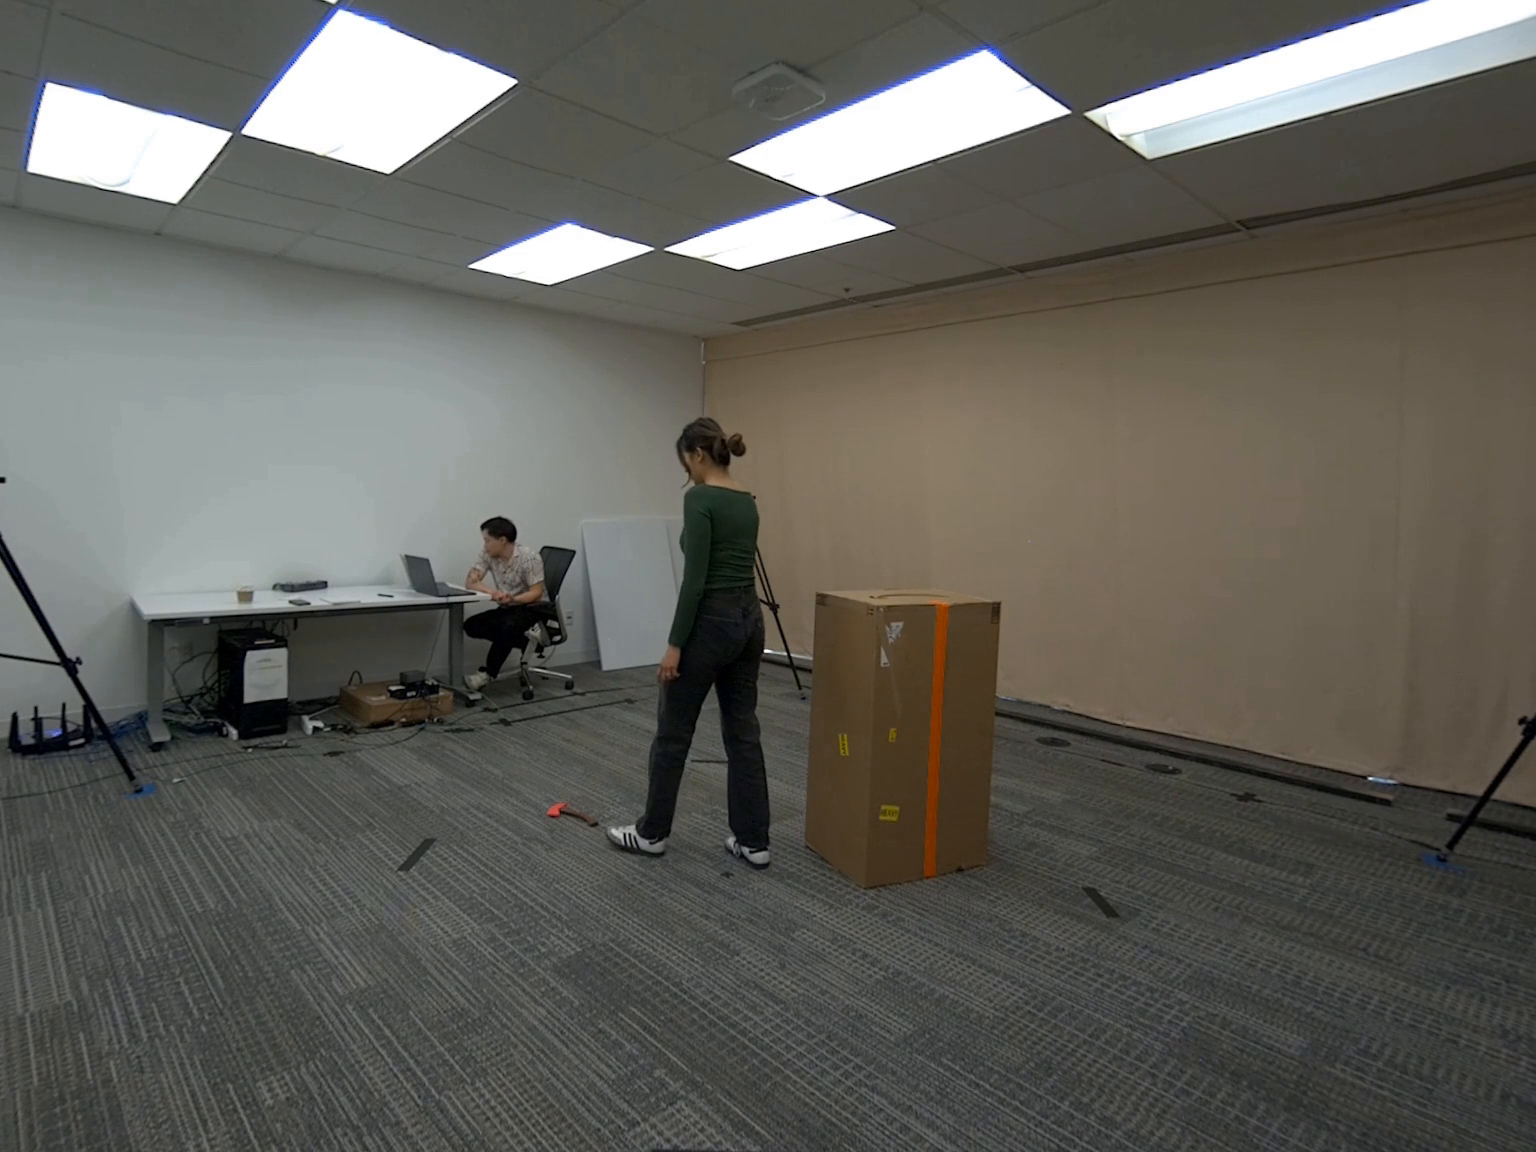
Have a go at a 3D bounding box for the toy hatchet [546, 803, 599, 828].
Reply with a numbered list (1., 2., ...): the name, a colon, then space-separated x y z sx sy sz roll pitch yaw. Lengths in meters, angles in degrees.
1. toy hatchet: -0.848 1.023 3.596 0.128 0.029 0.277 -3 9 -43
